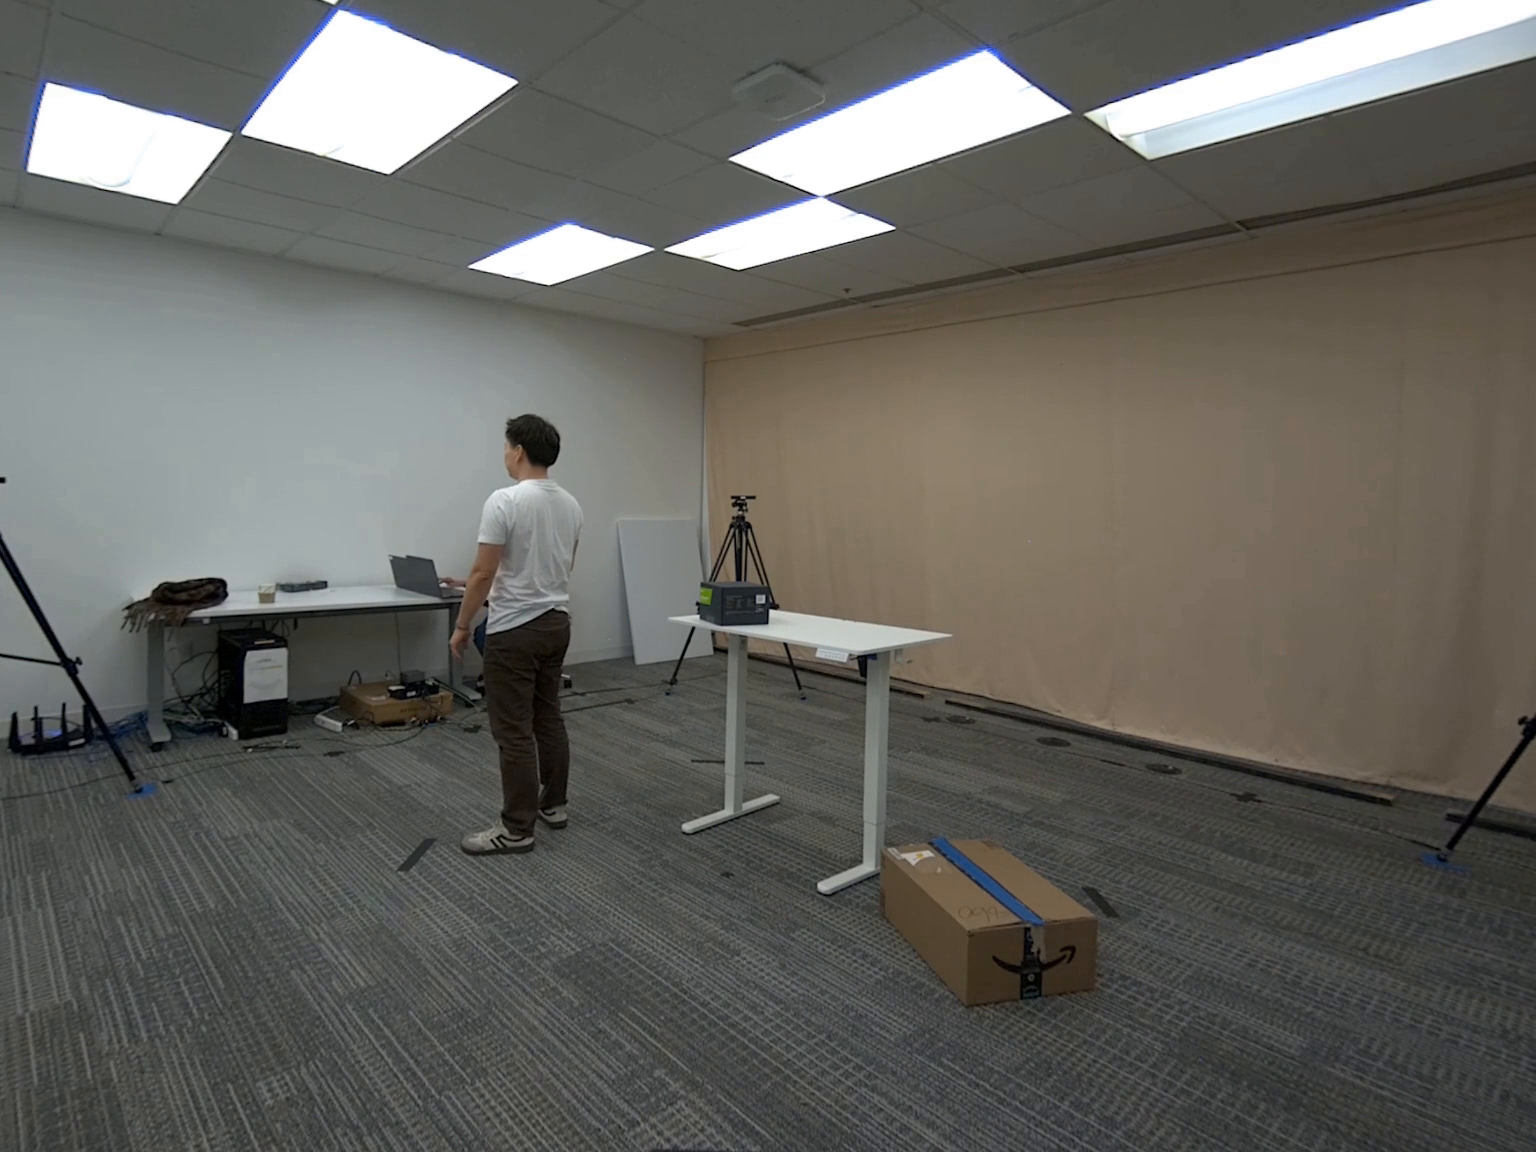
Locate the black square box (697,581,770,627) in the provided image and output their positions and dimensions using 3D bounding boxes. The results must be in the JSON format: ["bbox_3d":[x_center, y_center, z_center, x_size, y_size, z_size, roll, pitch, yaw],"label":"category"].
[{"bbox_3d":[-0.146,0.109,3.459,0.213,0.155,0.232,-1,4,-26],"label":"black square box"}]
